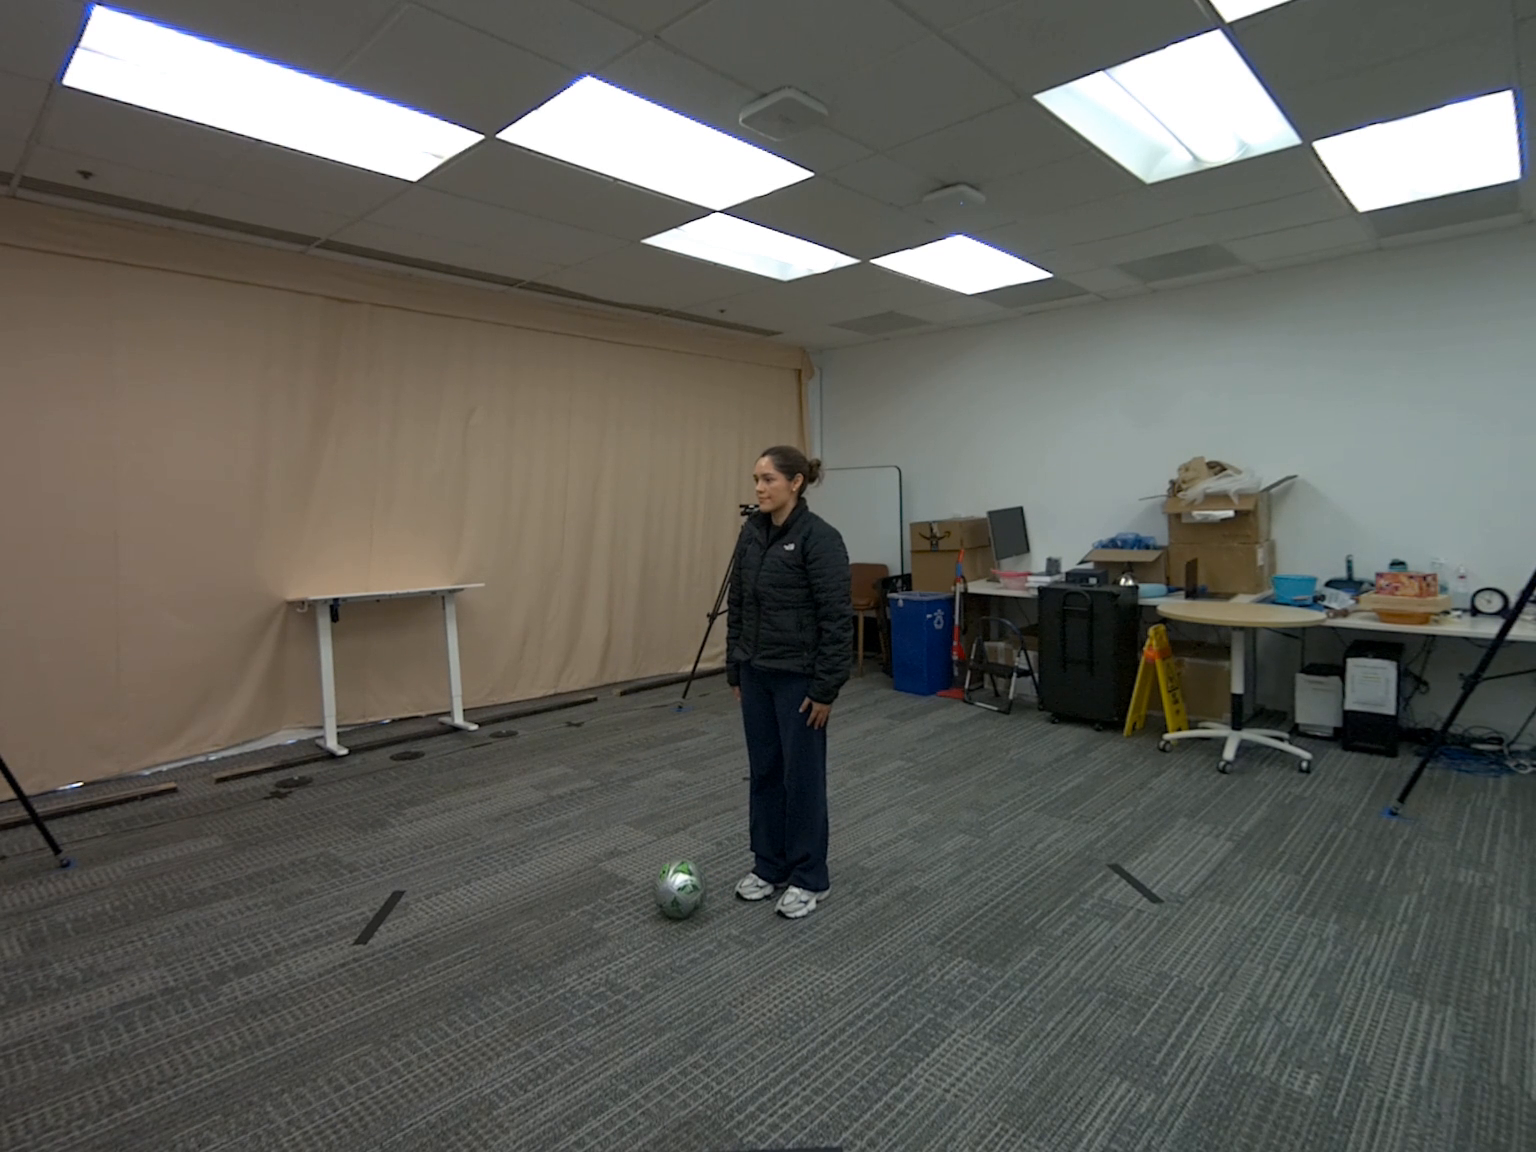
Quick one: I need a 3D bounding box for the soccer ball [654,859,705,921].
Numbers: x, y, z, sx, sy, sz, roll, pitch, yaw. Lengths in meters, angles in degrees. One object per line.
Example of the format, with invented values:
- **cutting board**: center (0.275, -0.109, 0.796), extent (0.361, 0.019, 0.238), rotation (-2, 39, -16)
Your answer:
- **soccer ball**: center (-0.296, 1.062, 2.862), extent (0.187, 0.187, 0.188), rotation (-1, 4, -2)
